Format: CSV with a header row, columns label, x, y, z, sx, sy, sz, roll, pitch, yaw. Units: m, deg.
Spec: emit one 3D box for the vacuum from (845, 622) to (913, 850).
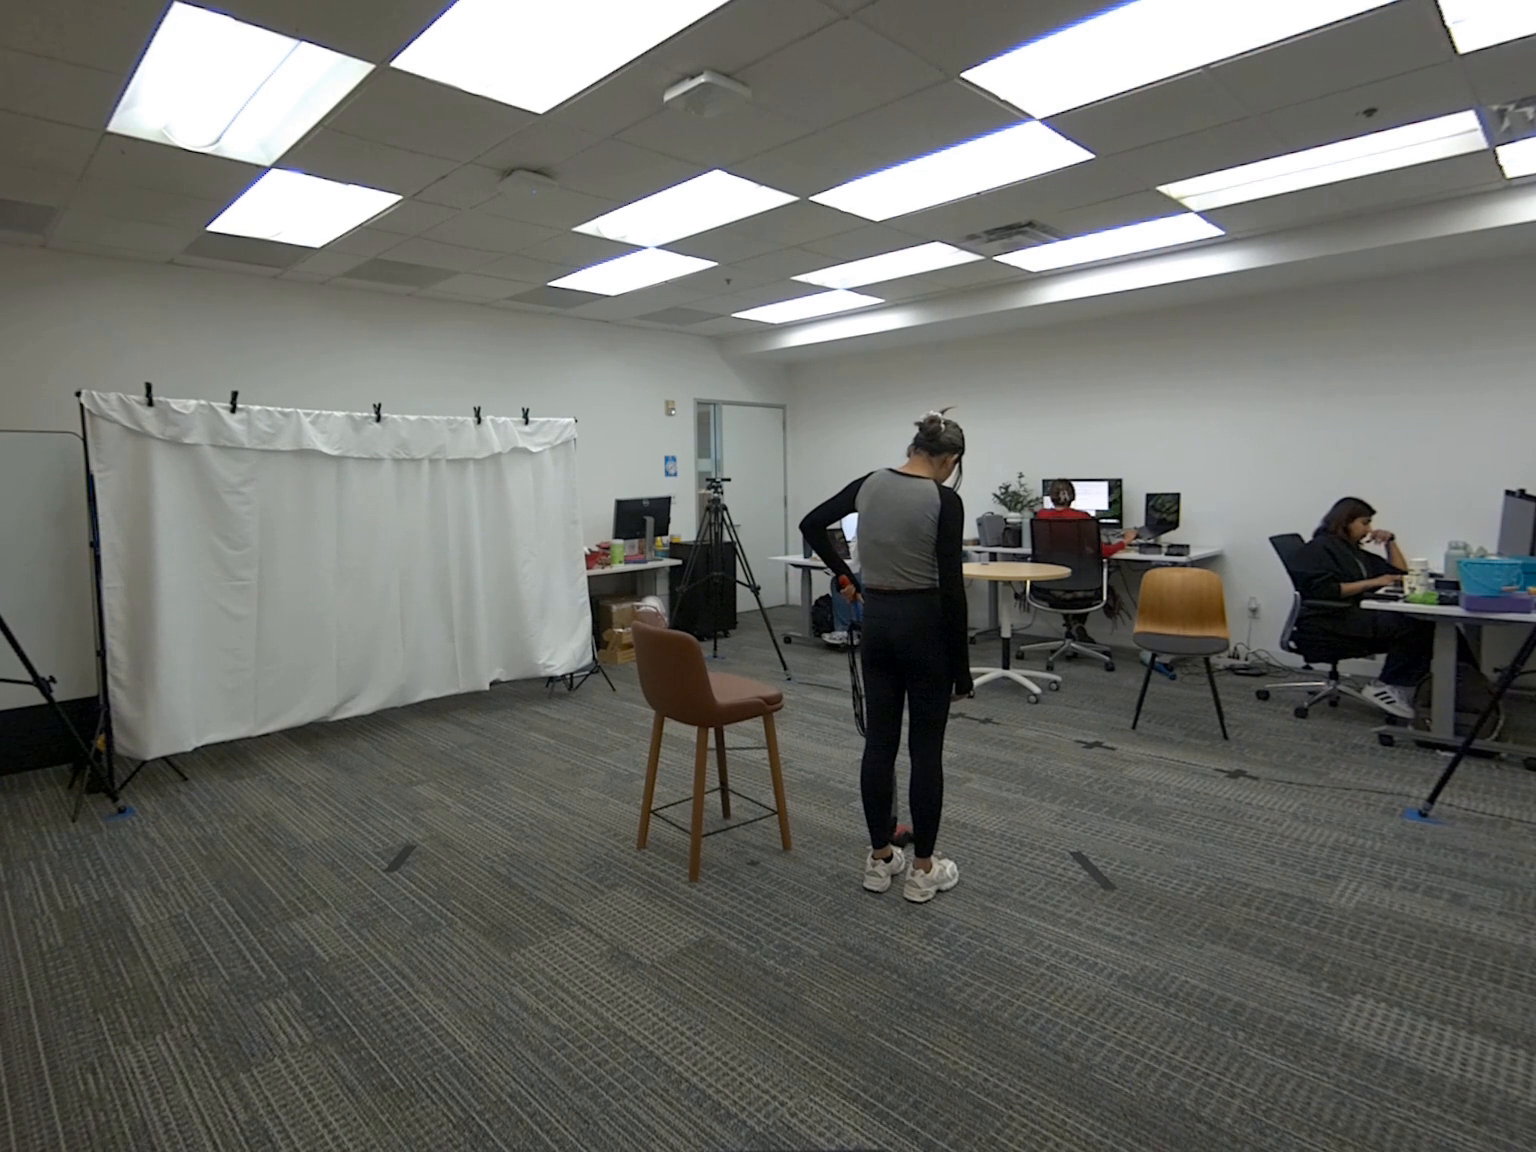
label,x,y,z,sx,sy,sz,roll,pitch,yaw
vacuum,0.388,0.516,3.213,0.259,1.038,0.141,-3,12,39
